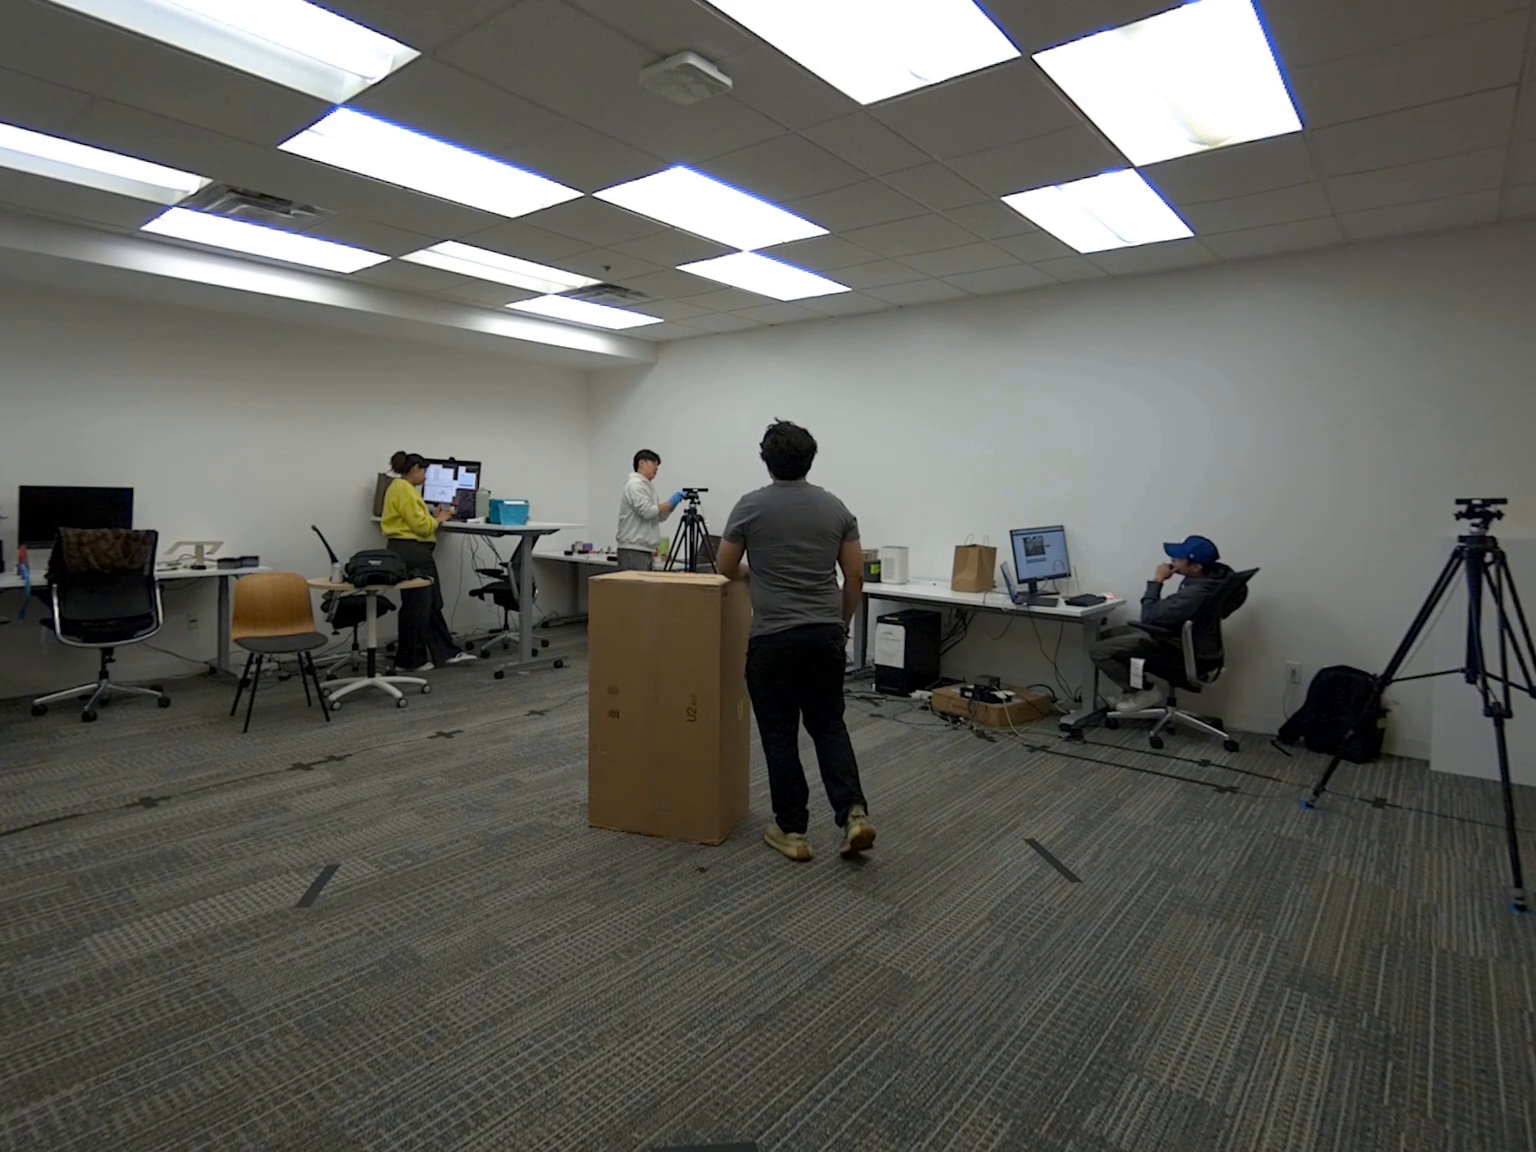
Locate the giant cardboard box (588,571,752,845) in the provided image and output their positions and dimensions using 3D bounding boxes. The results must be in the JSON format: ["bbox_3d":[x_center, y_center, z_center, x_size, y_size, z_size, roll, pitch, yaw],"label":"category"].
[{"bbox_3d":[-0.418,0.510,3.589,0.589,1.023,0.419,1,3,18],"label":"giant cardboard box"}]
